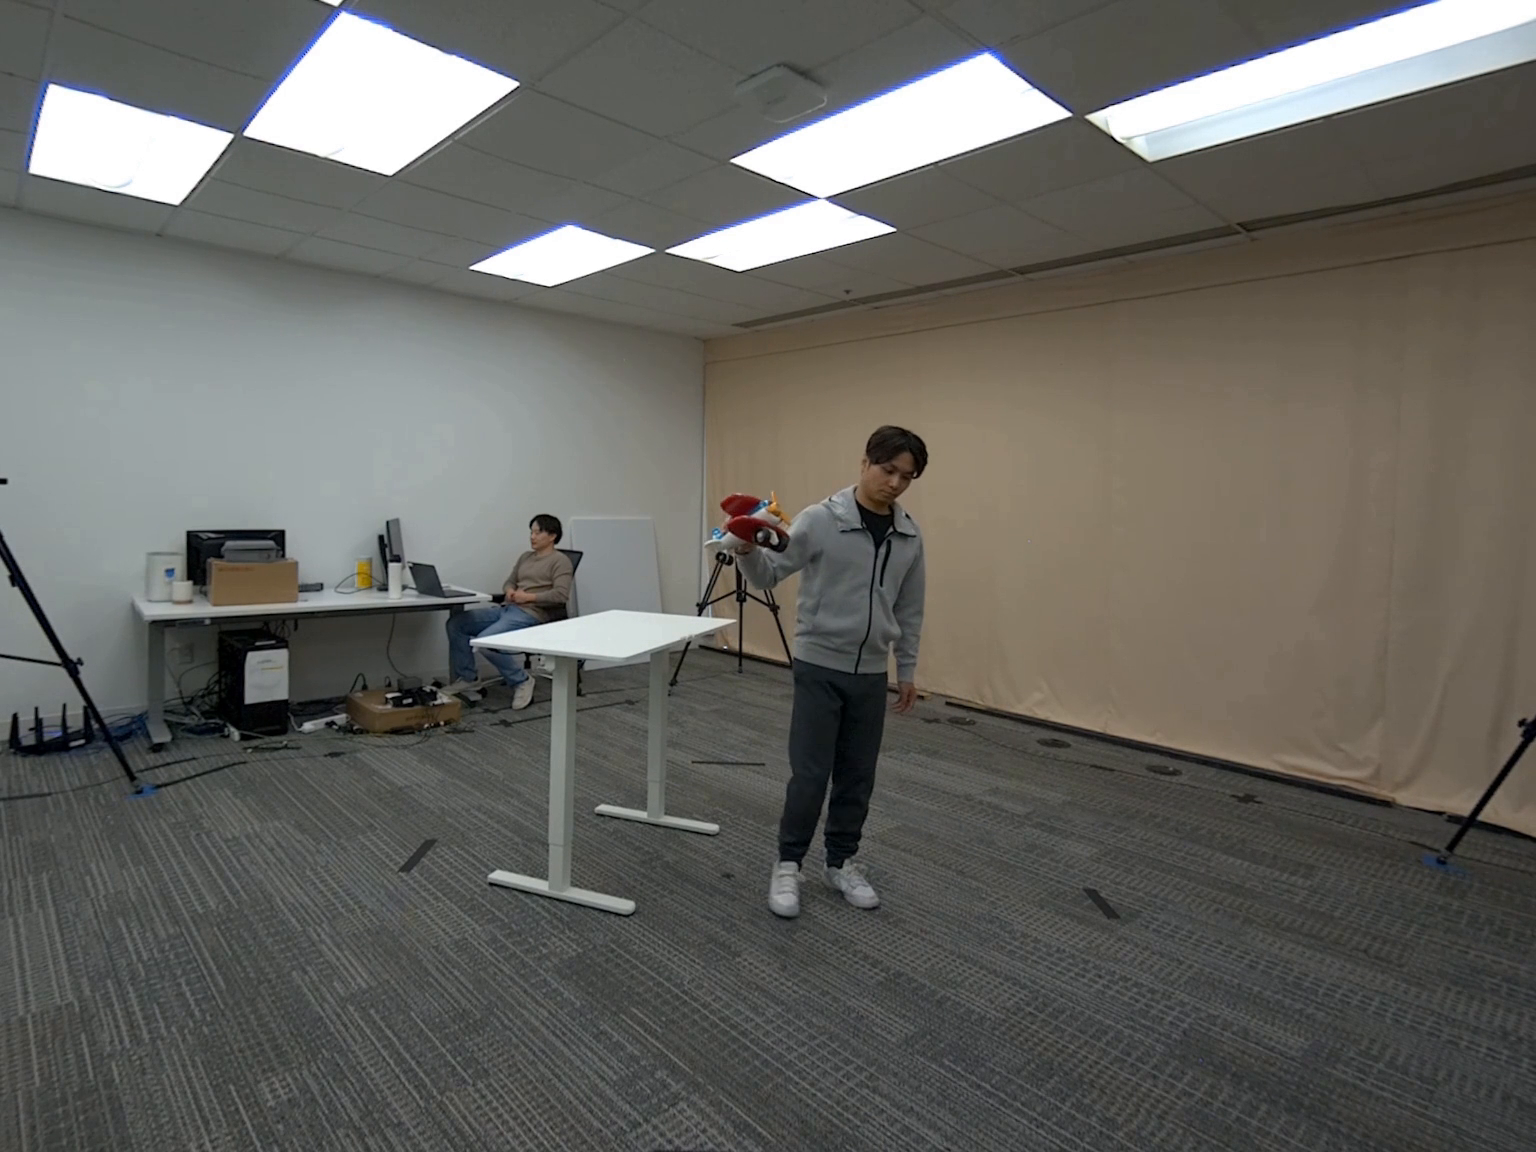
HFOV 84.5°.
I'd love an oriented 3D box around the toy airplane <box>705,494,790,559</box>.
[{"bbox_3d":[-0.077,-0.133,2.508,0.261,0.159,0.246,-6,-19,9],"label":"toy airplane"}]
